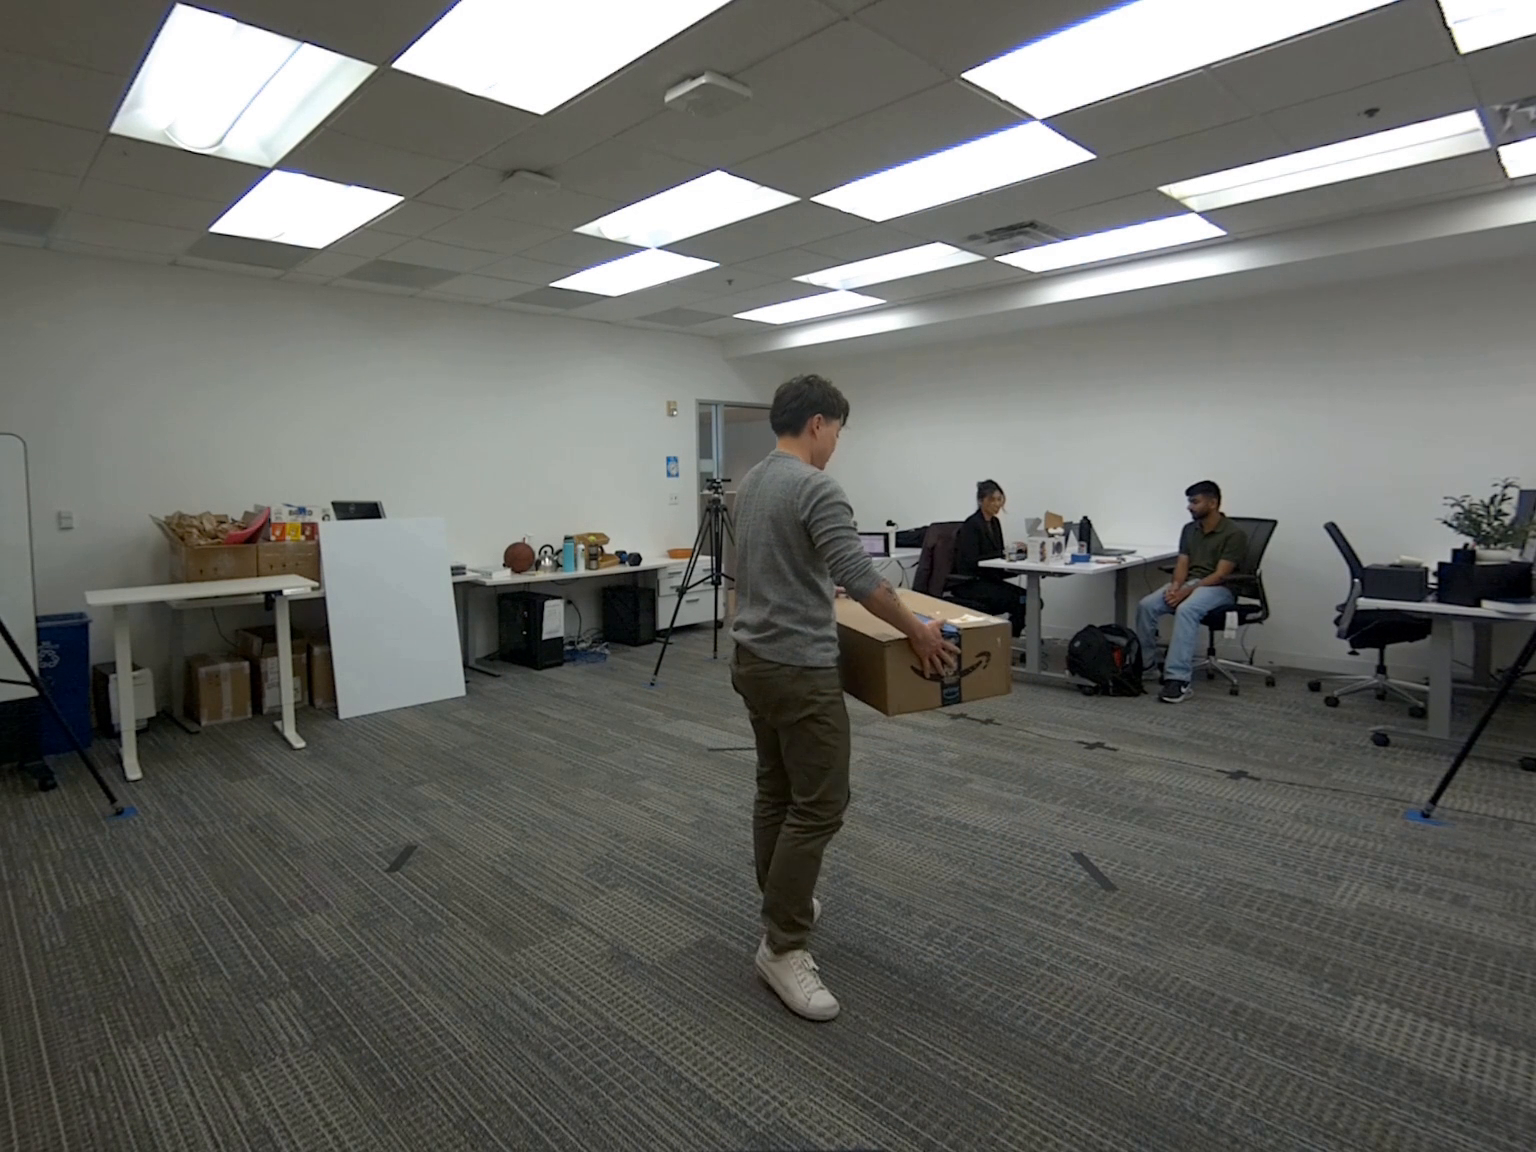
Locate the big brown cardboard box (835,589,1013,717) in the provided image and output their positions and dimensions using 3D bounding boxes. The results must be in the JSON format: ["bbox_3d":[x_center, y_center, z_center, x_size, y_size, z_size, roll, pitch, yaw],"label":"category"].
[{"bbox_3d":[0.402,0.213,2.643,0.410,0.231,0.604,-7,10,-22],"label":"big brown cardboard box"}]
